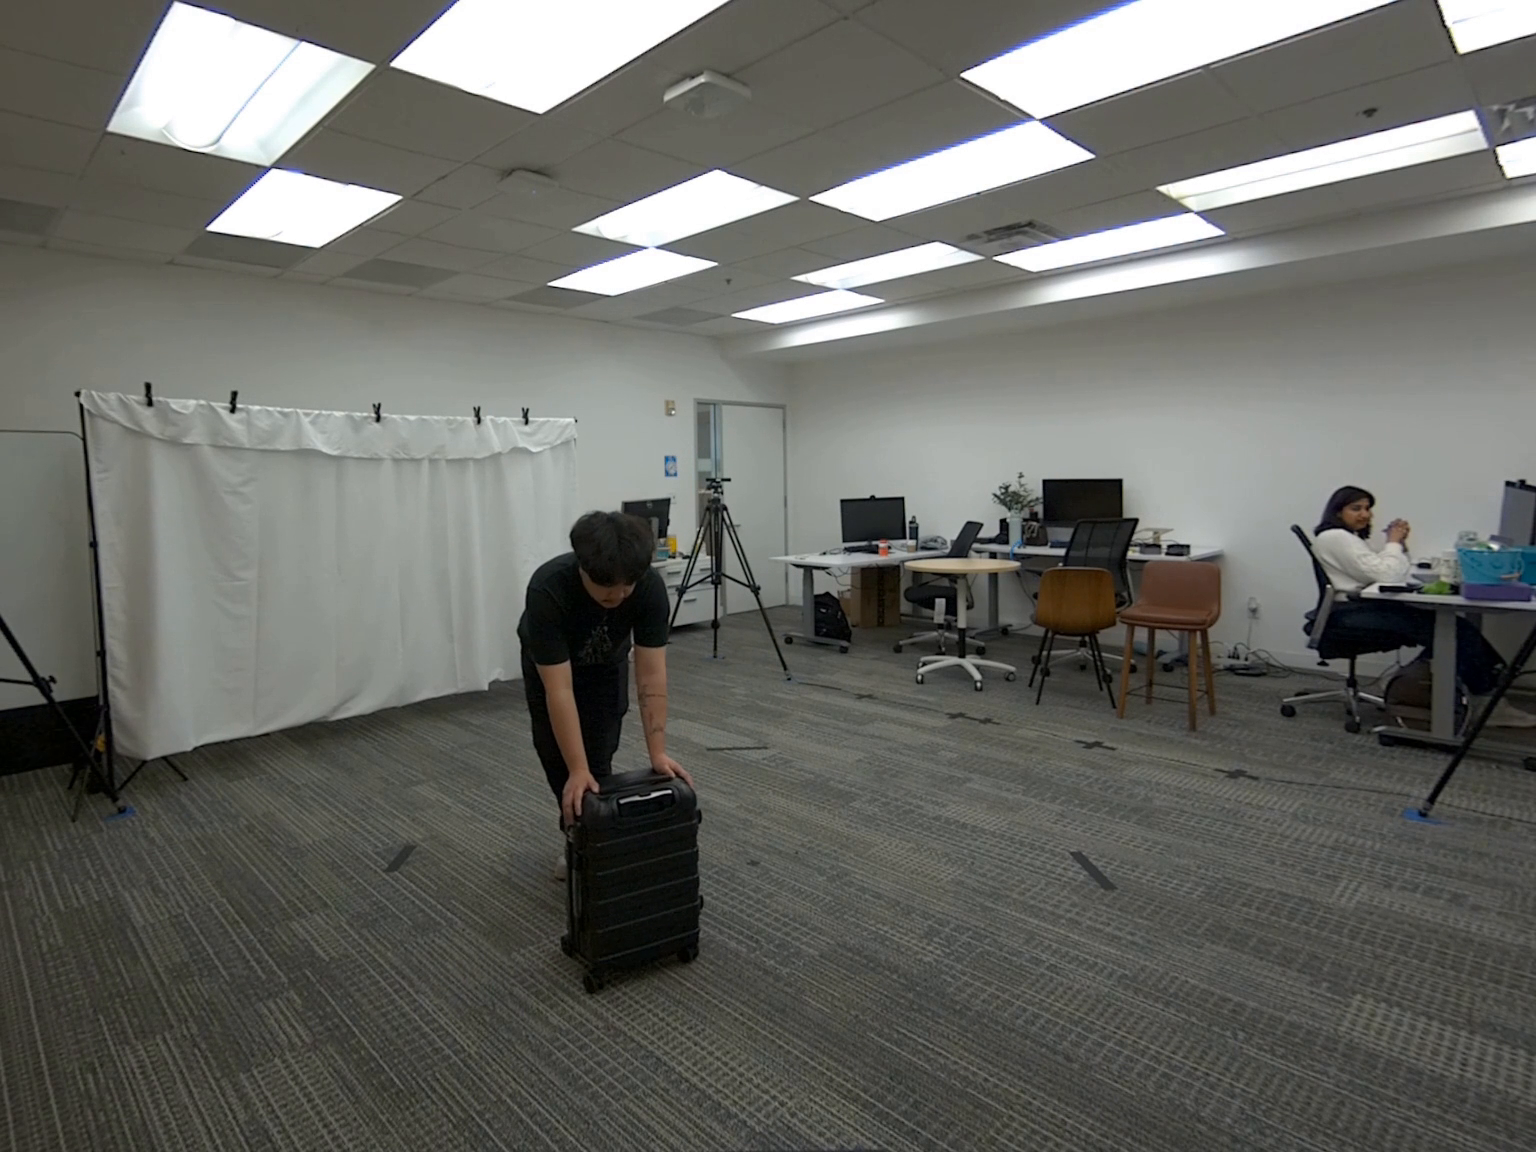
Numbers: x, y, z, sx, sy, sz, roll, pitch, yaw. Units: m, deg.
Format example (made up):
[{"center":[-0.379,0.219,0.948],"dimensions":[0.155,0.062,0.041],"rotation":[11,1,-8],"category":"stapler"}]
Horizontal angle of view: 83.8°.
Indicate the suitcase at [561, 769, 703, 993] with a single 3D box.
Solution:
[{"center":[-0.393,0.849,2.477],"dimensions":[0.366,0.547,0.255],"rotation":[-2,6,-31],"category":"suitcase"}]
